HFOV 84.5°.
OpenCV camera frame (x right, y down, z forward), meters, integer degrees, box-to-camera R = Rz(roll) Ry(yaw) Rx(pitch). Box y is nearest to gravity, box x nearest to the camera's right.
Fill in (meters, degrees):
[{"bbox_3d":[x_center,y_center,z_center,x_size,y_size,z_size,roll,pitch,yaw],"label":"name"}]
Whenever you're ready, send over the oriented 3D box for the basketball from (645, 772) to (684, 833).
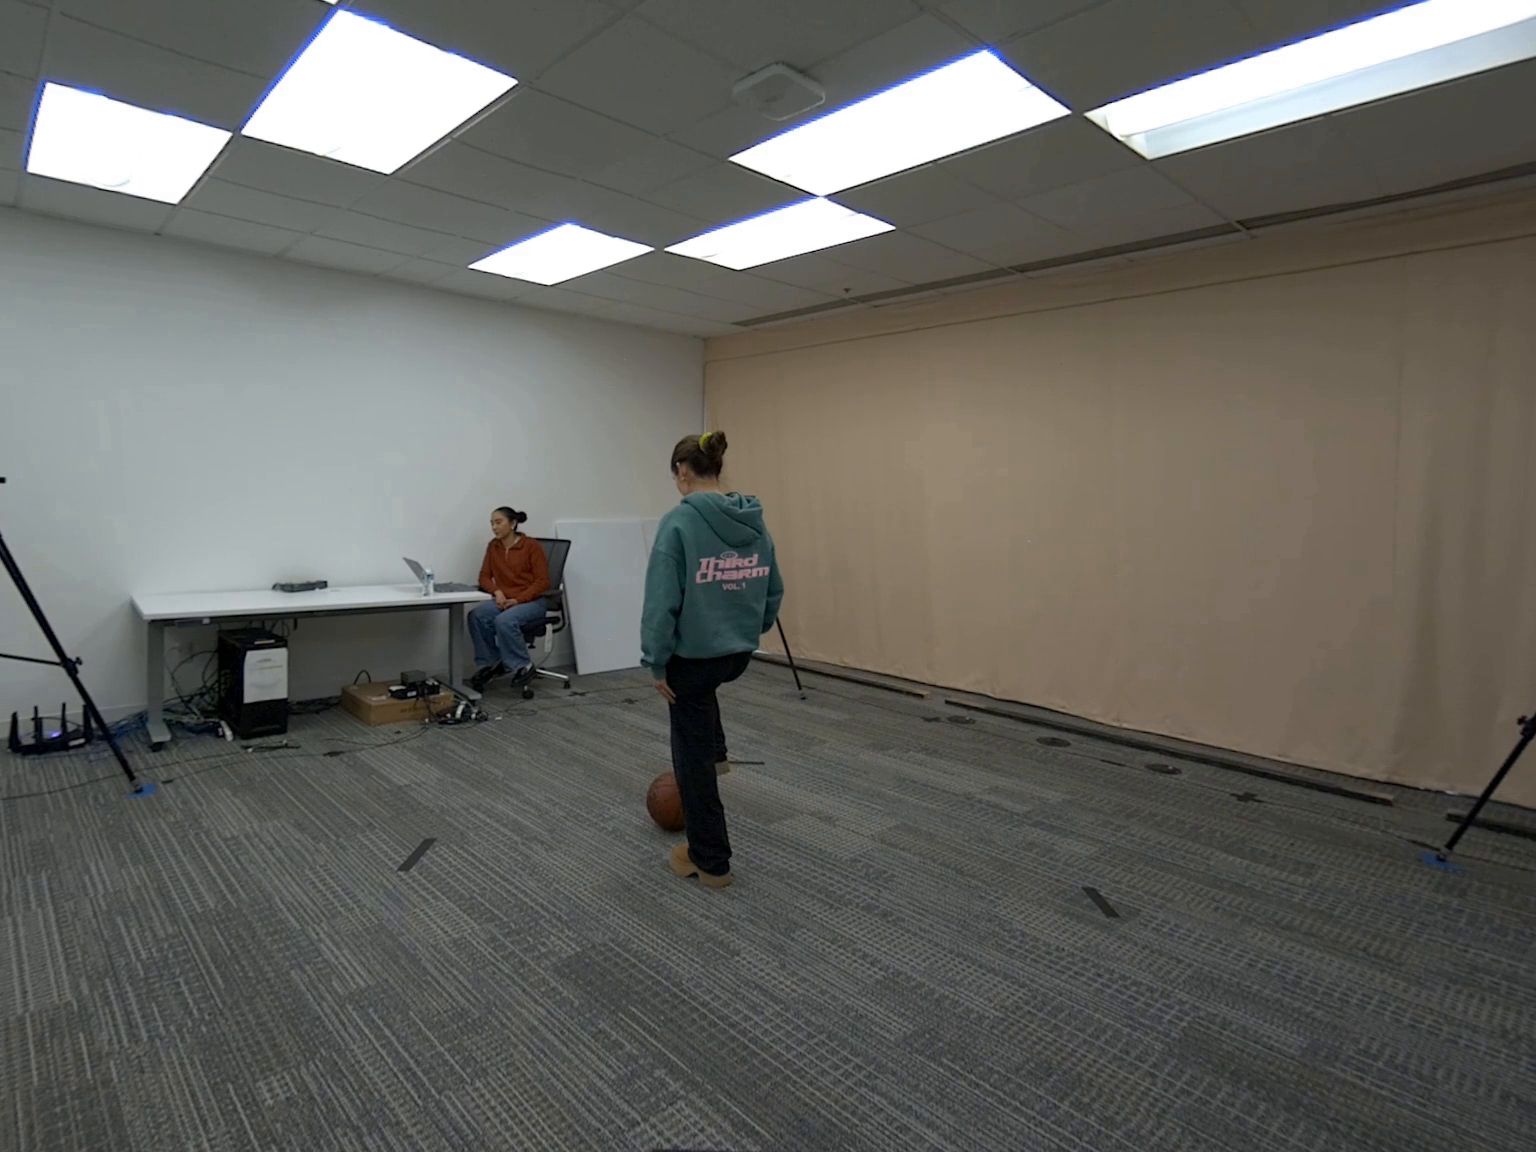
[{"bbox_3d":[-0.404,0.936,3.528,0.236,0.235,0.237,1,4,-1],"label":"basketball"}]
